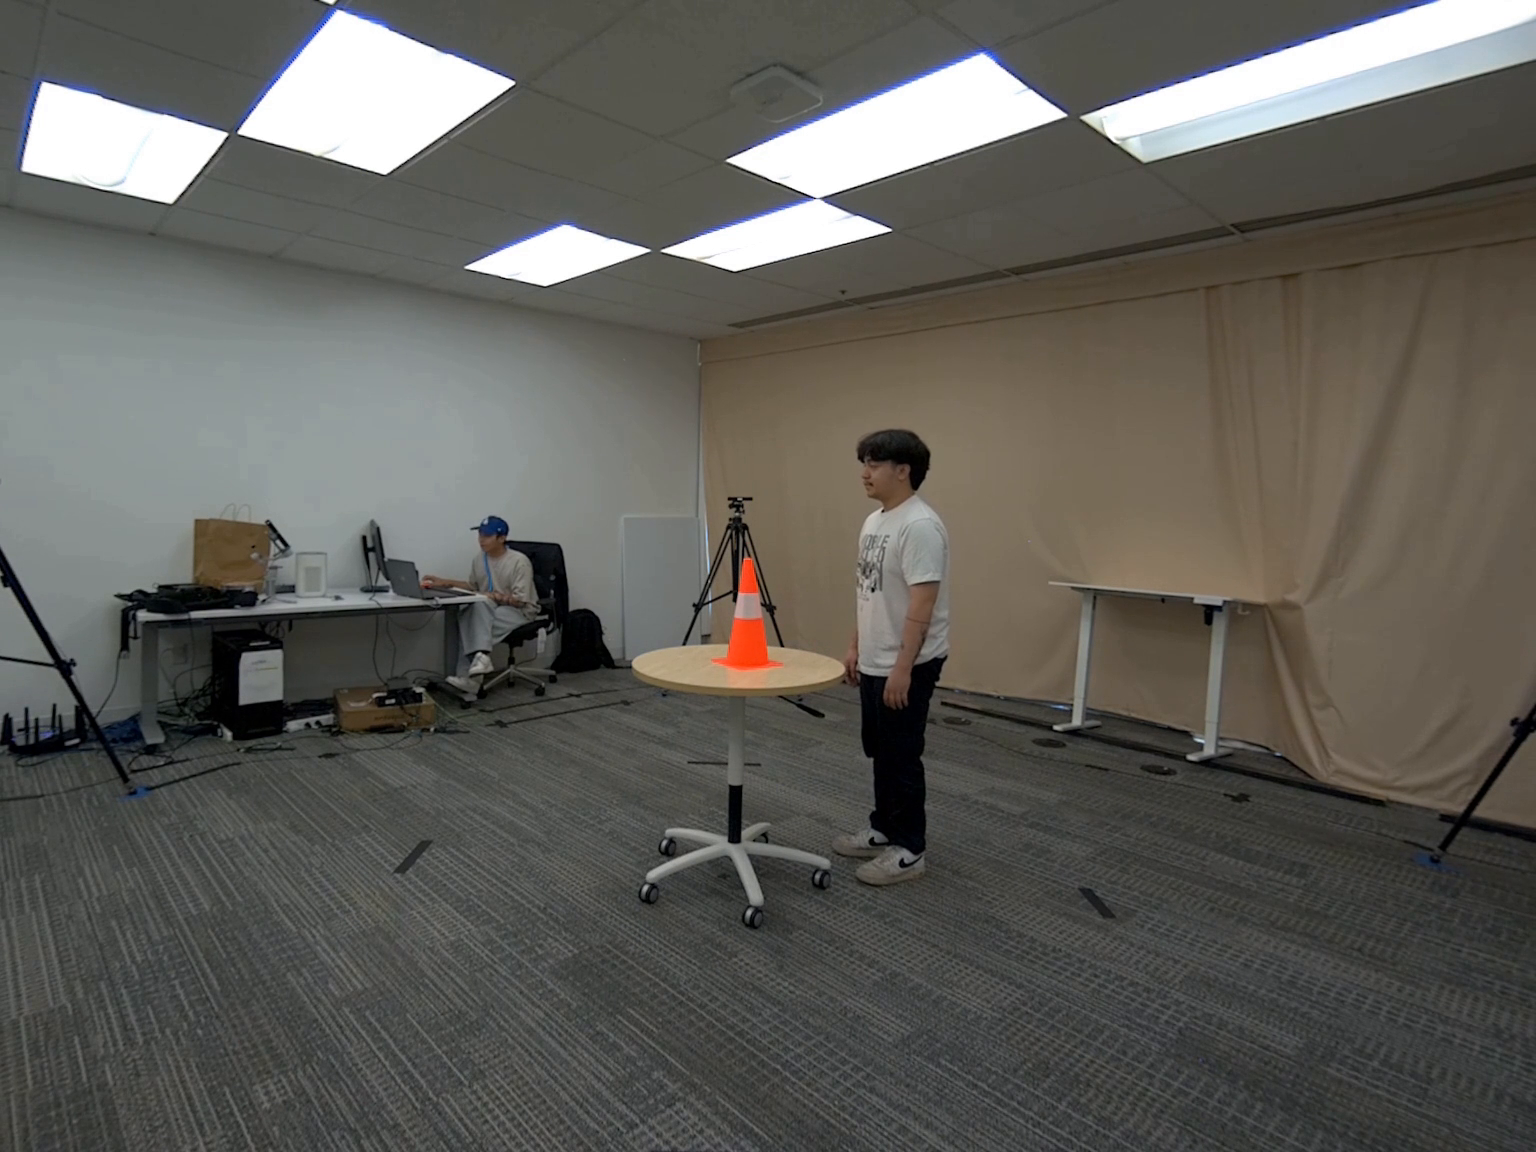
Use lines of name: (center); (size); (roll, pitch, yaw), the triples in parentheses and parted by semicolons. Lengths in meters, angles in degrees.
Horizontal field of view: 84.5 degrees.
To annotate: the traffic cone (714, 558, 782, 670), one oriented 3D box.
traffic cone: (-0.066, 0.130, 3.042); (0.208, 0.382, 0.200); (5, 5, 37)
